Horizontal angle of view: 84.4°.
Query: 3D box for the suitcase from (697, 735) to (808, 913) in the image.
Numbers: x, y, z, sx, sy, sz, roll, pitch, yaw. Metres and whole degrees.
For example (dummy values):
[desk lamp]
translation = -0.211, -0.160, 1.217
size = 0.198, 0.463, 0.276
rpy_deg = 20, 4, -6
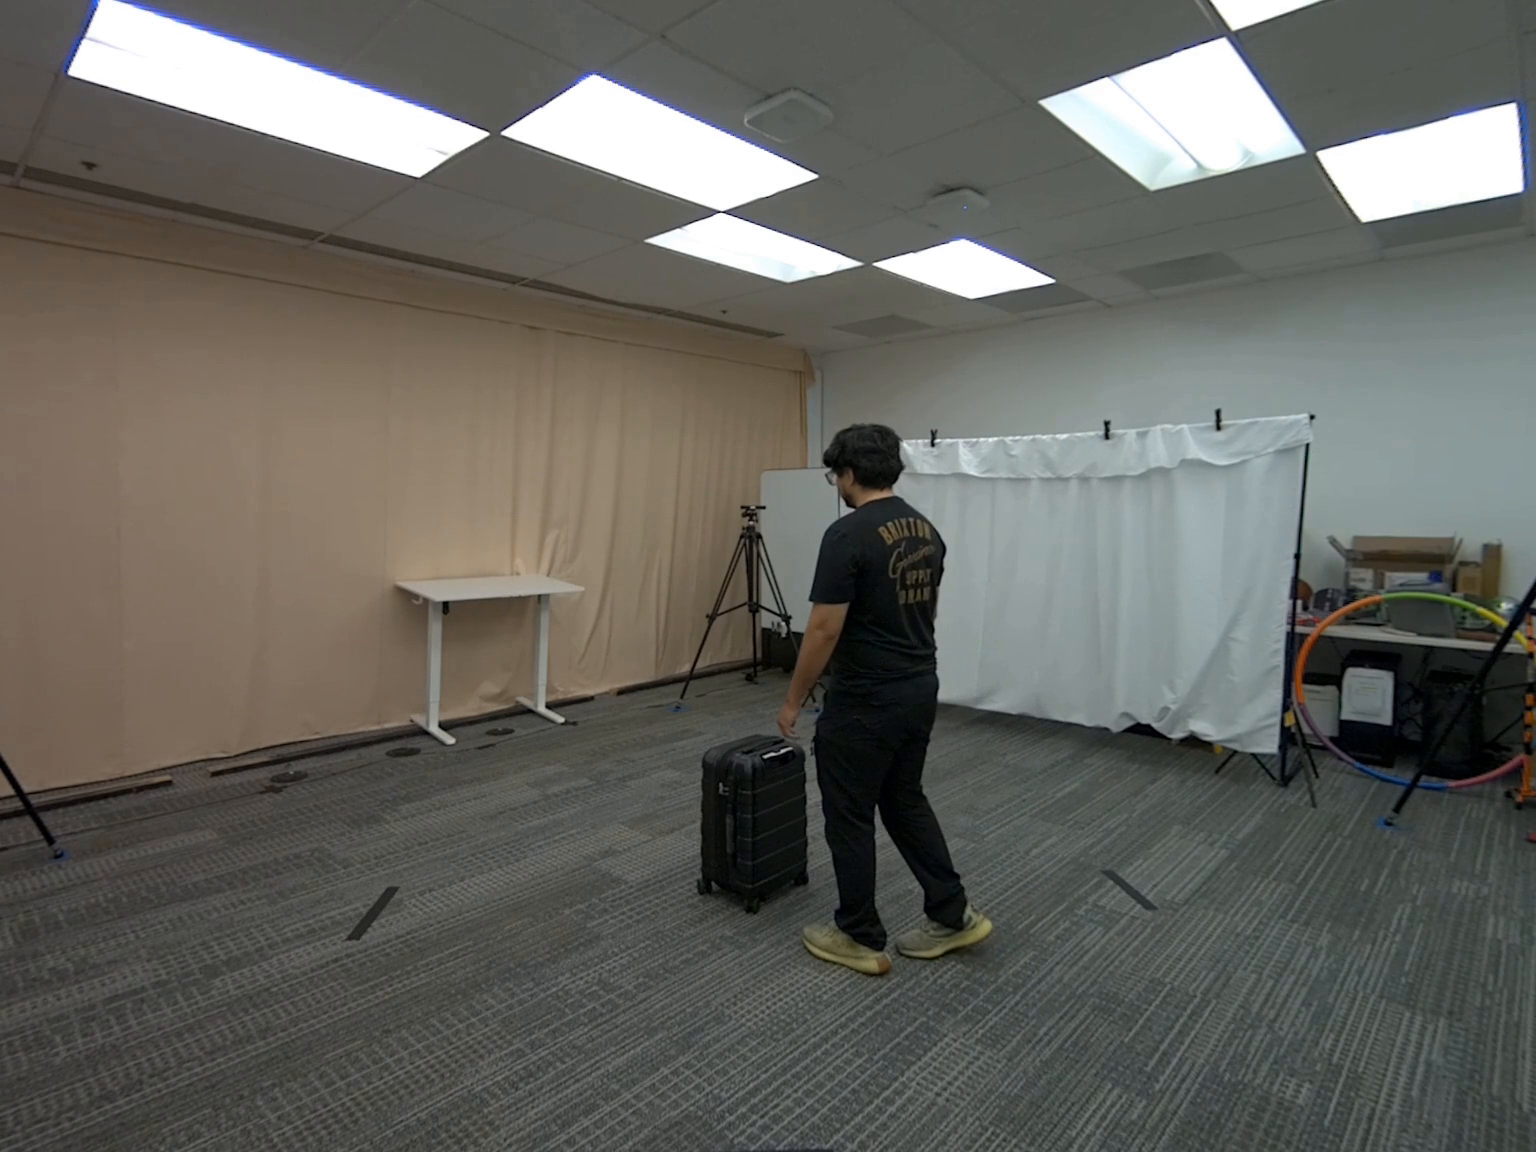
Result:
[suitcase]
translation = -0.050, 0.865, 3.030
size = 0.256, 0.548, 0.364
rpy_deg = 4, 6, 41
